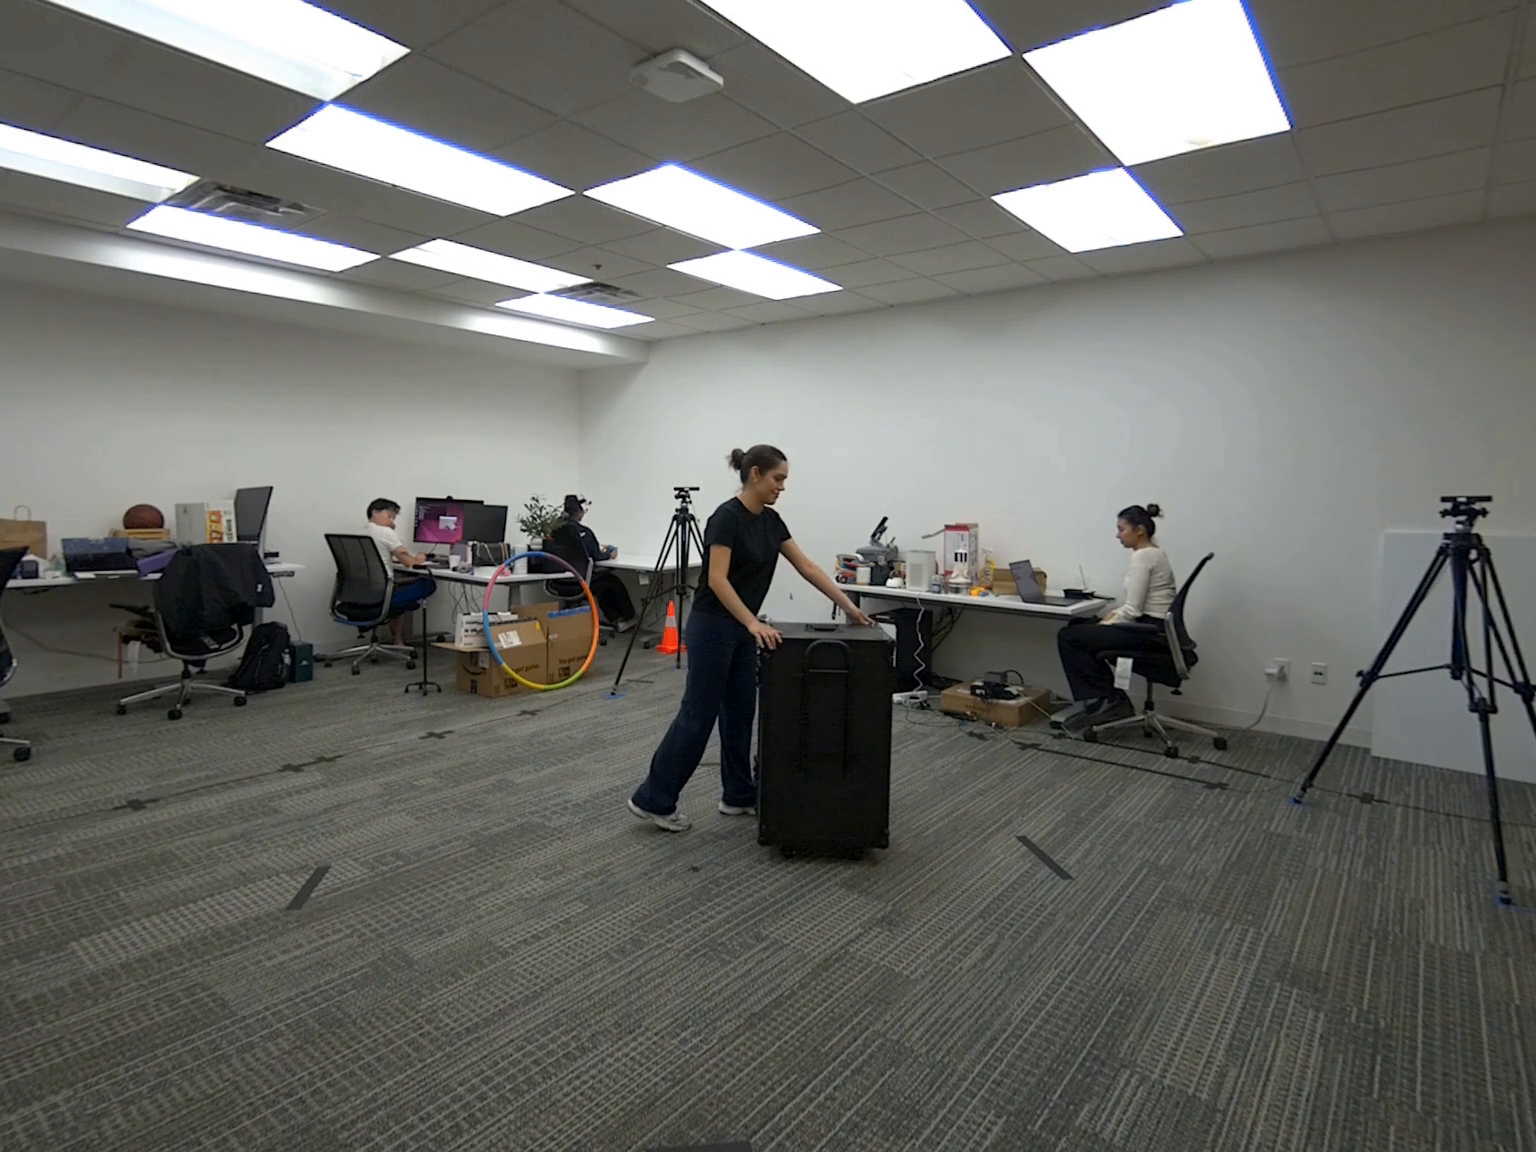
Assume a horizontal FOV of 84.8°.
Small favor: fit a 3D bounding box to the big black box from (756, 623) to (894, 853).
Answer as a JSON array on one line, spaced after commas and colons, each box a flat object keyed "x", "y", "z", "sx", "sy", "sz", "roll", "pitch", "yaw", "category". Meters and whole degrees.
[{"x": 0.231, "y": 0.632, "z": 3.300, "sx": 0.522, "sy": 0.858, "sz": 0.398, "roll": 1, "pitch": 5, "yaw": 0, "category": "big black box"}]
